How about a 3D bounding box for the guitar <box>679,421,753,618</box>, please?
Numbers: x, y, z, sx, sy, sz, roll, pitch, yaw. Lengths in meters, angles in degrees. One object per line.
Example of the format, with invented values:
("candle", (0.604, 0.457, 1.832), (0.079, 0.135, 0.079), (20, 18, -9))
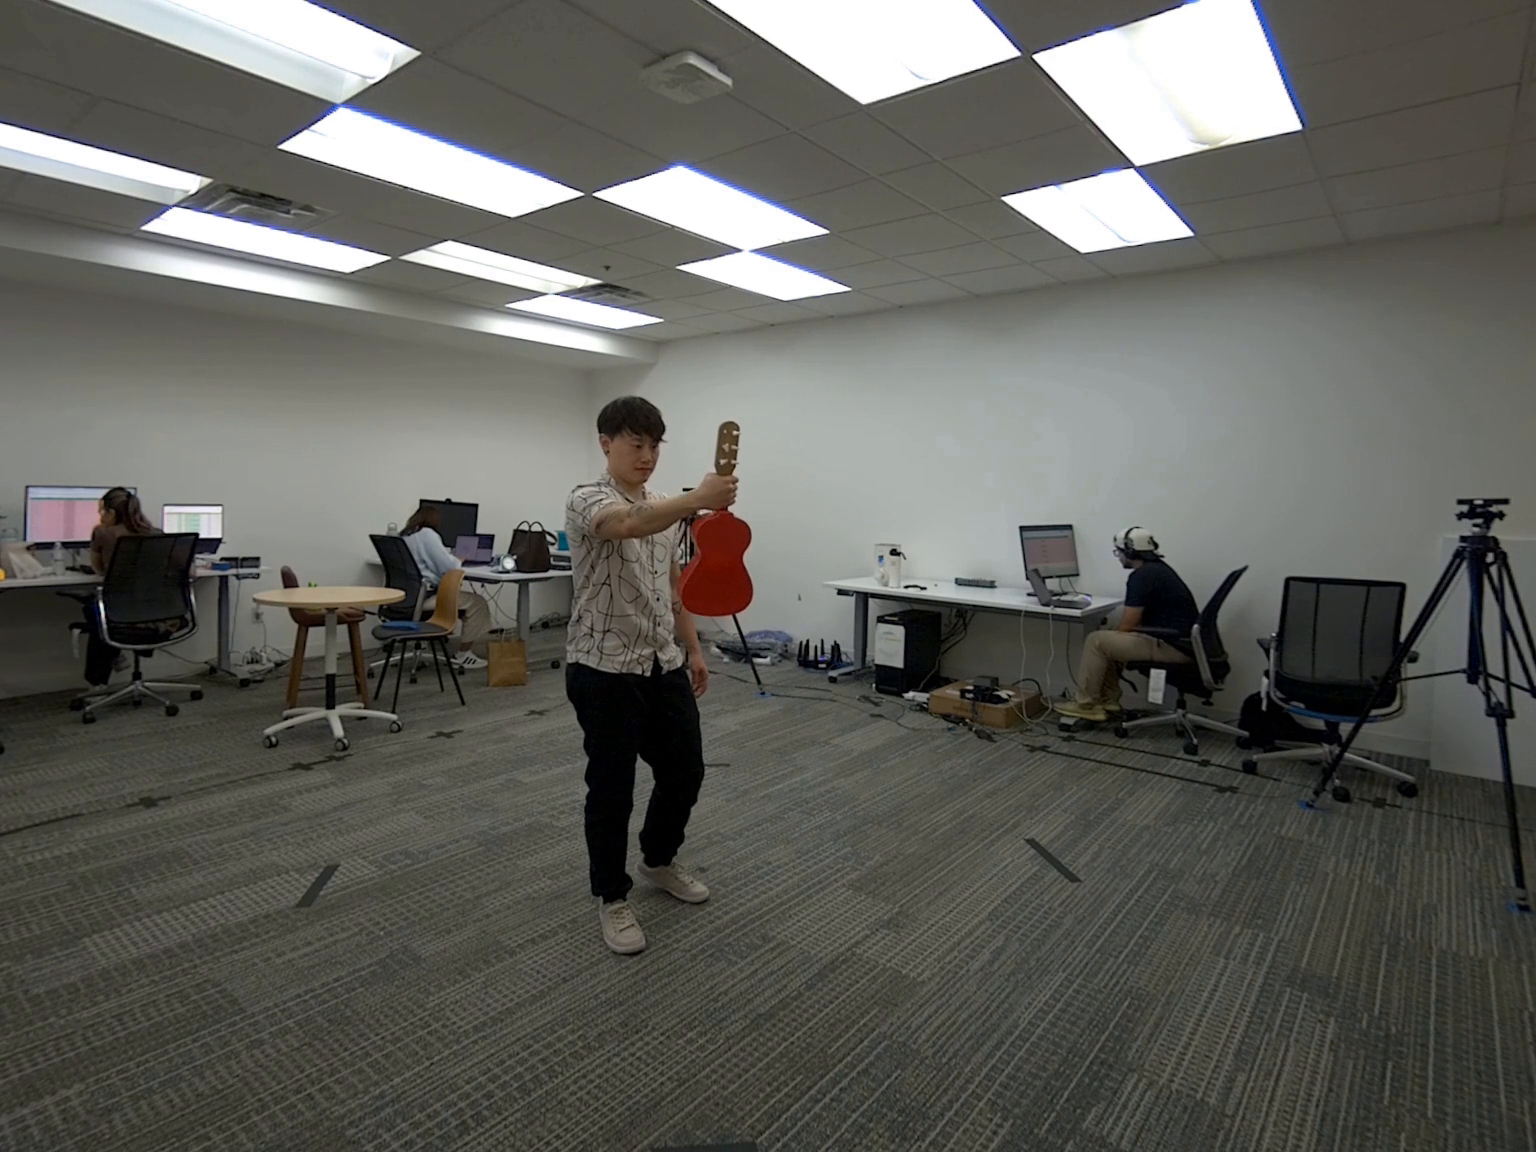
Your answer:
("guitar", (-0.155, -0.141, 2.177), (0.191, 0.490, 0.072), (-5, 16, -12))
